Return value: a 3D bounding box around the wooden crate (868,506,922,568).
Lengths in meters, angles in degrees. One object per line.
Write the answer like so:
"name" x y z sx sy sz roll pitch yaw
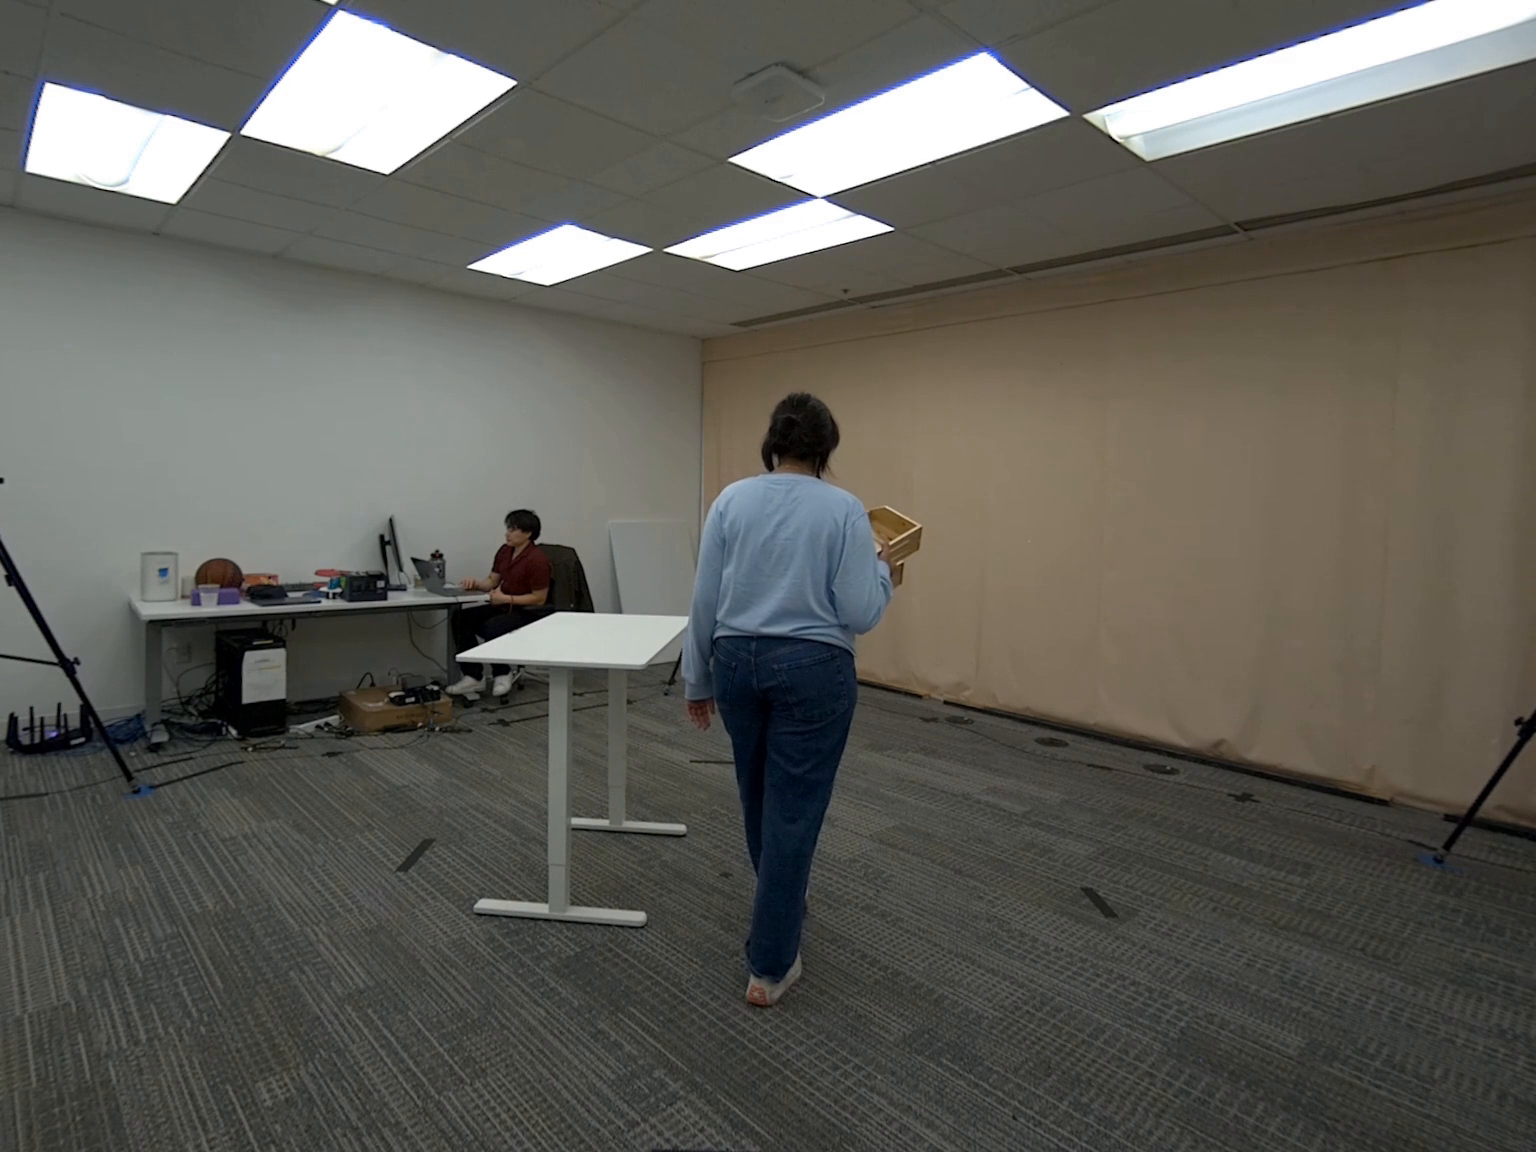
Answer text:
"wooden crate" 0.266 -0.058 2.663 0.321 0.267 0.311 -29 46 -31
